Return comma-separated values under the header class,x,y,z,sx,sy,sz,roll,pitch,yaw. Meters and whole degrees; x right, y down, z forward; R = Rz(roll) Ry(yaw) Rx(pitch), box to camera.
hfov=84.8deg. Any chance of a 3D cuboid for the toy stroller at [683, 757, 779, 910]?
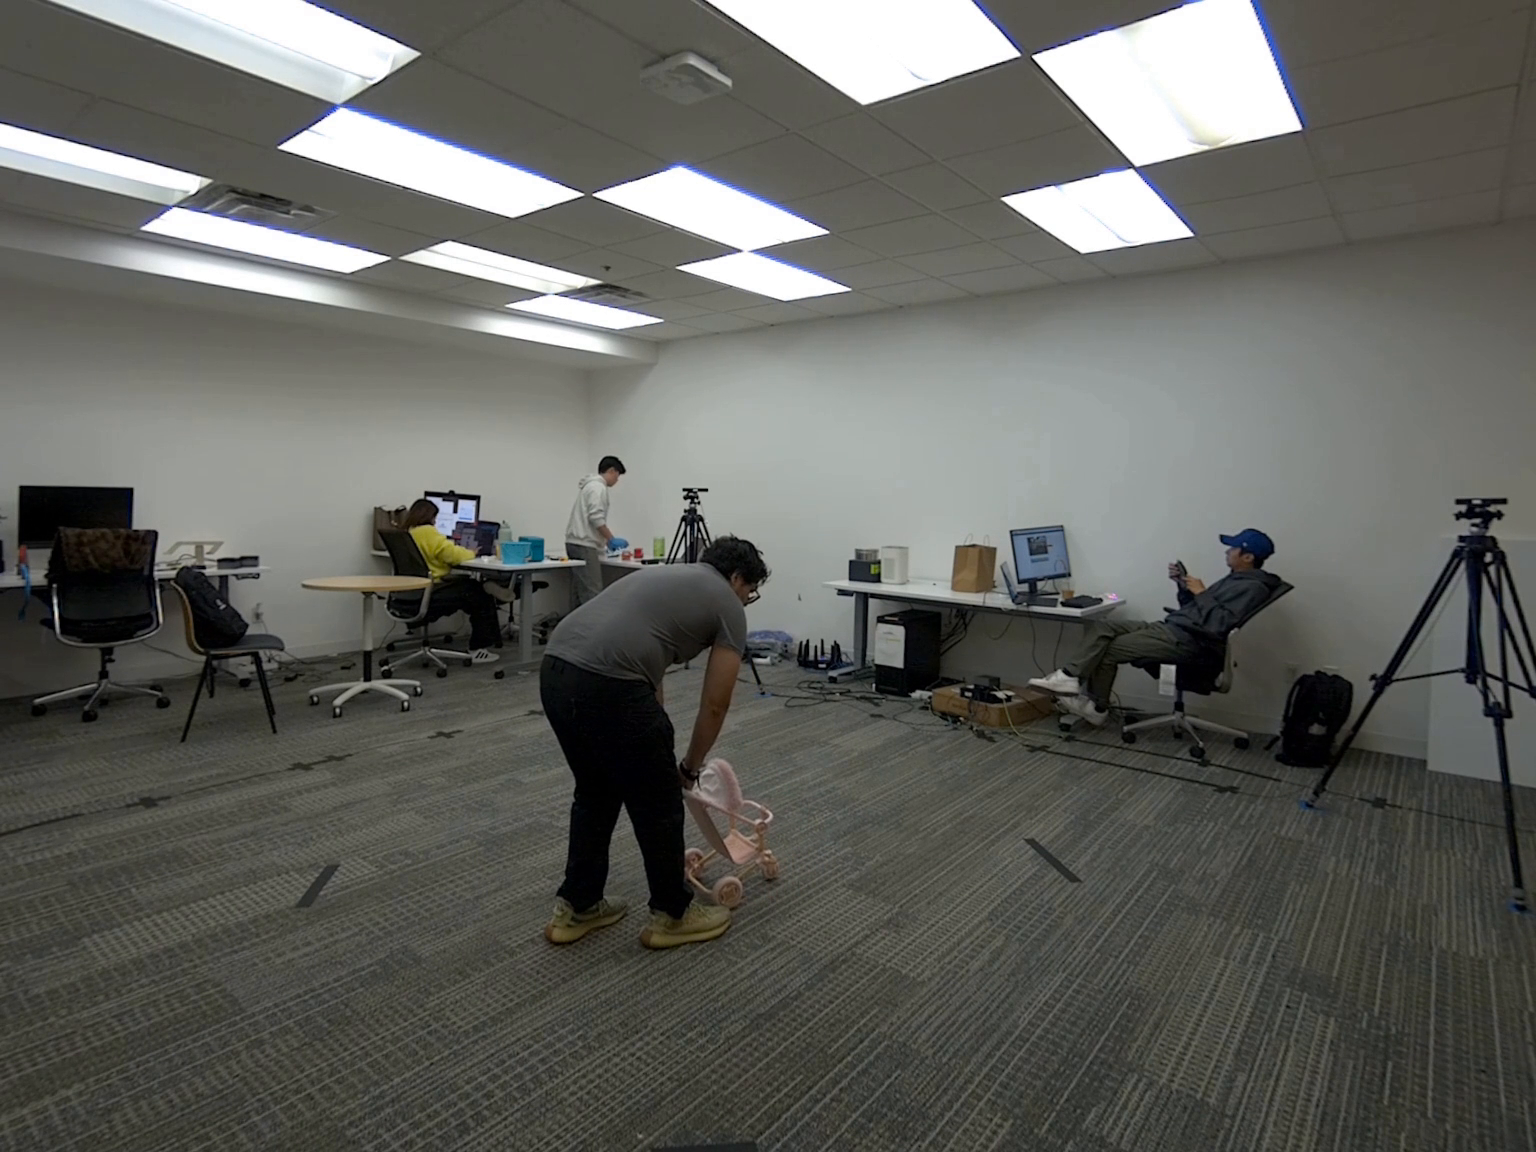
class,x,y,z,sx,sy,sz,roll,pitch,yaw
toy stroller,-0.155,0.862,2.939,0.336,0.529,0.289,-19,11,-25
